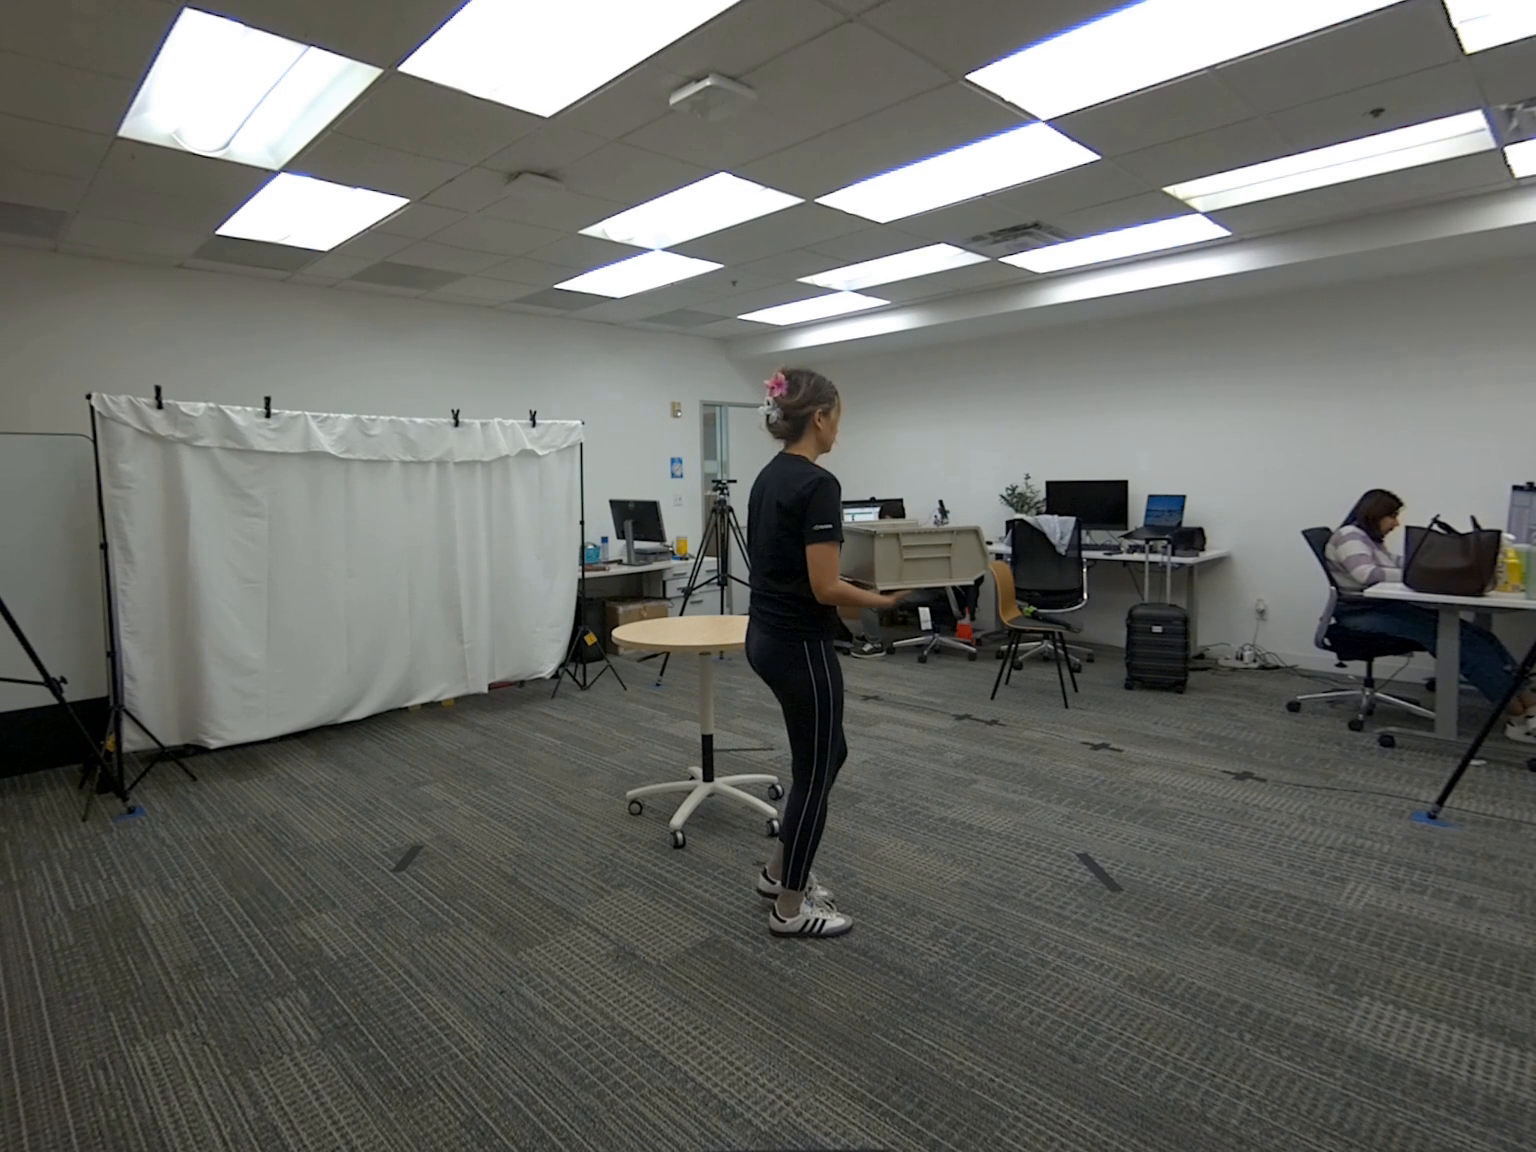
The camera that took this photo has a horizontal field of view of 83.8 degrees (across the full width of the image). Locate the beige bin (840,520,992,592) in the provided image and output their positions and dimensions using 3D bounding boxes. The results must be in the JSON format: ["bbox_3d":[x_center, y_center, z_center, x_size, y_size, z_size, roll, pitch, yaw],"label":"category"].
[{"bbox_3d":[0.434,-0.074,2.735,0.372,0.188,0.431,-4,8,-15],"label":"beige bin"}]
